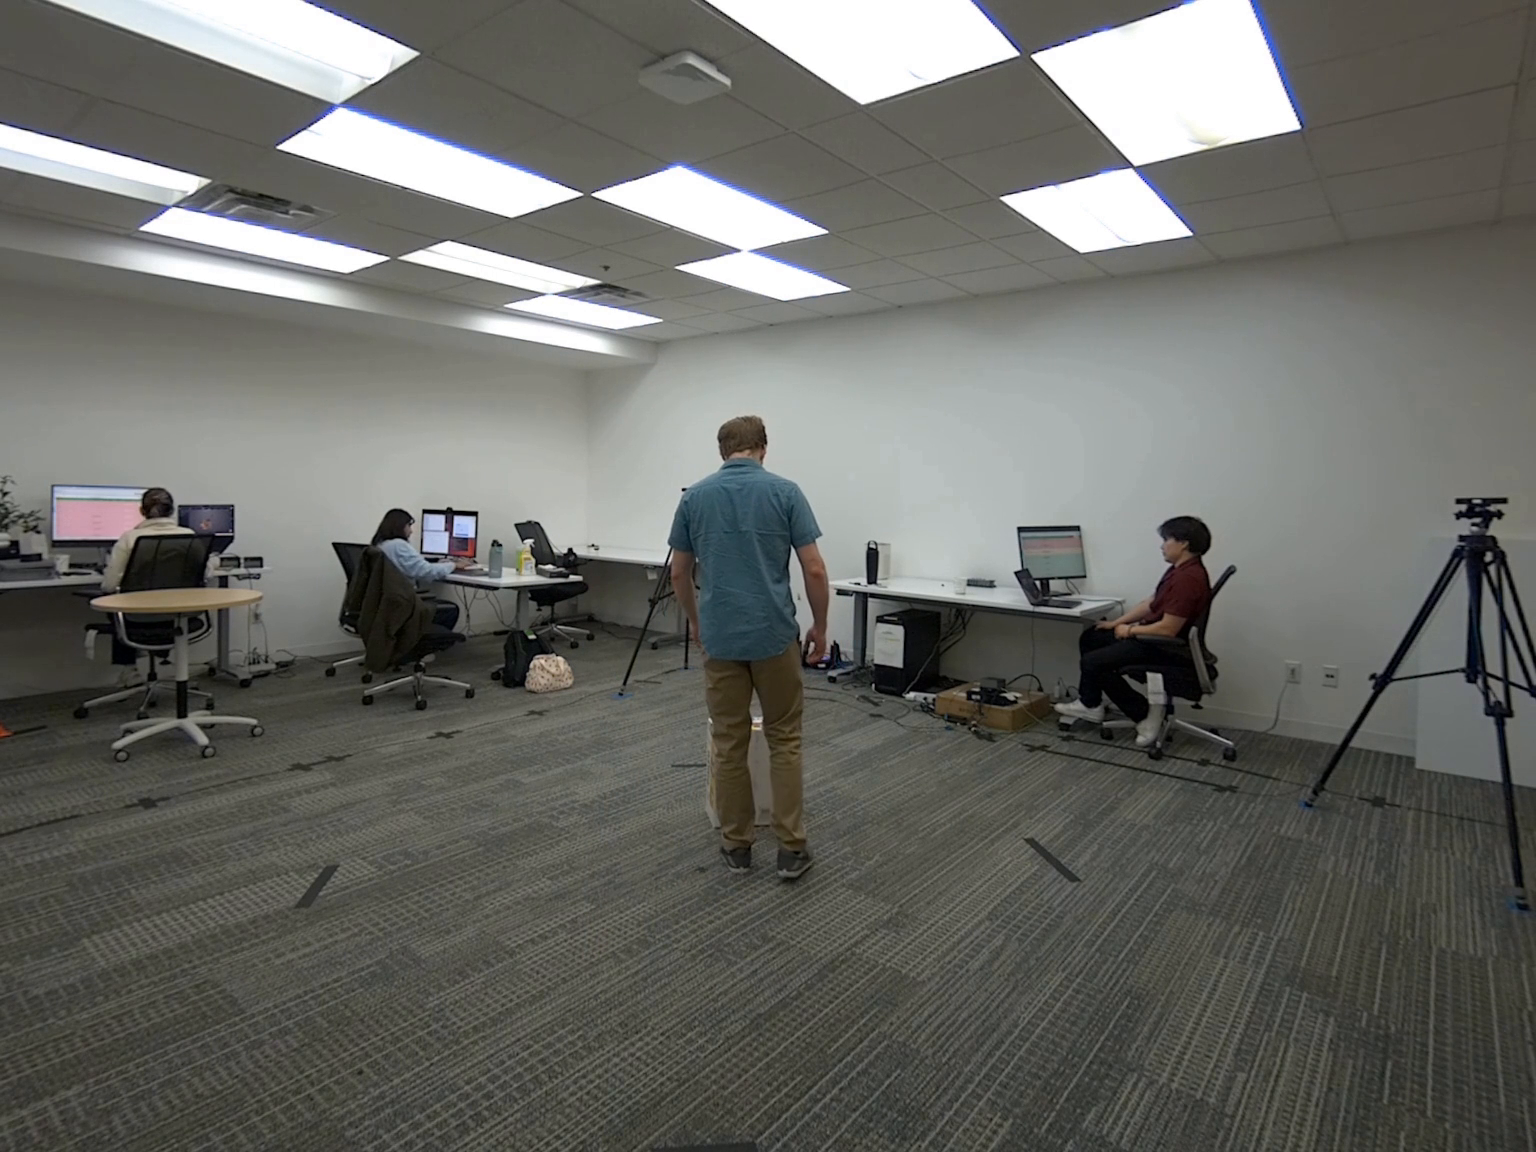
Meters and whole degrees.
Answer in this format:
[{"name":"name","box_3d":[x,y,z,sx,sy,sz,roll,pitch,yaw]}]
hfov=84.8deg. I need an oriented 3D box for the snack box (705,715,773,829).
[{"name":"snack box","box_3d":[-0.087,0.824,3.599,0.337,0.404,0.208,1,2,-10]}]
